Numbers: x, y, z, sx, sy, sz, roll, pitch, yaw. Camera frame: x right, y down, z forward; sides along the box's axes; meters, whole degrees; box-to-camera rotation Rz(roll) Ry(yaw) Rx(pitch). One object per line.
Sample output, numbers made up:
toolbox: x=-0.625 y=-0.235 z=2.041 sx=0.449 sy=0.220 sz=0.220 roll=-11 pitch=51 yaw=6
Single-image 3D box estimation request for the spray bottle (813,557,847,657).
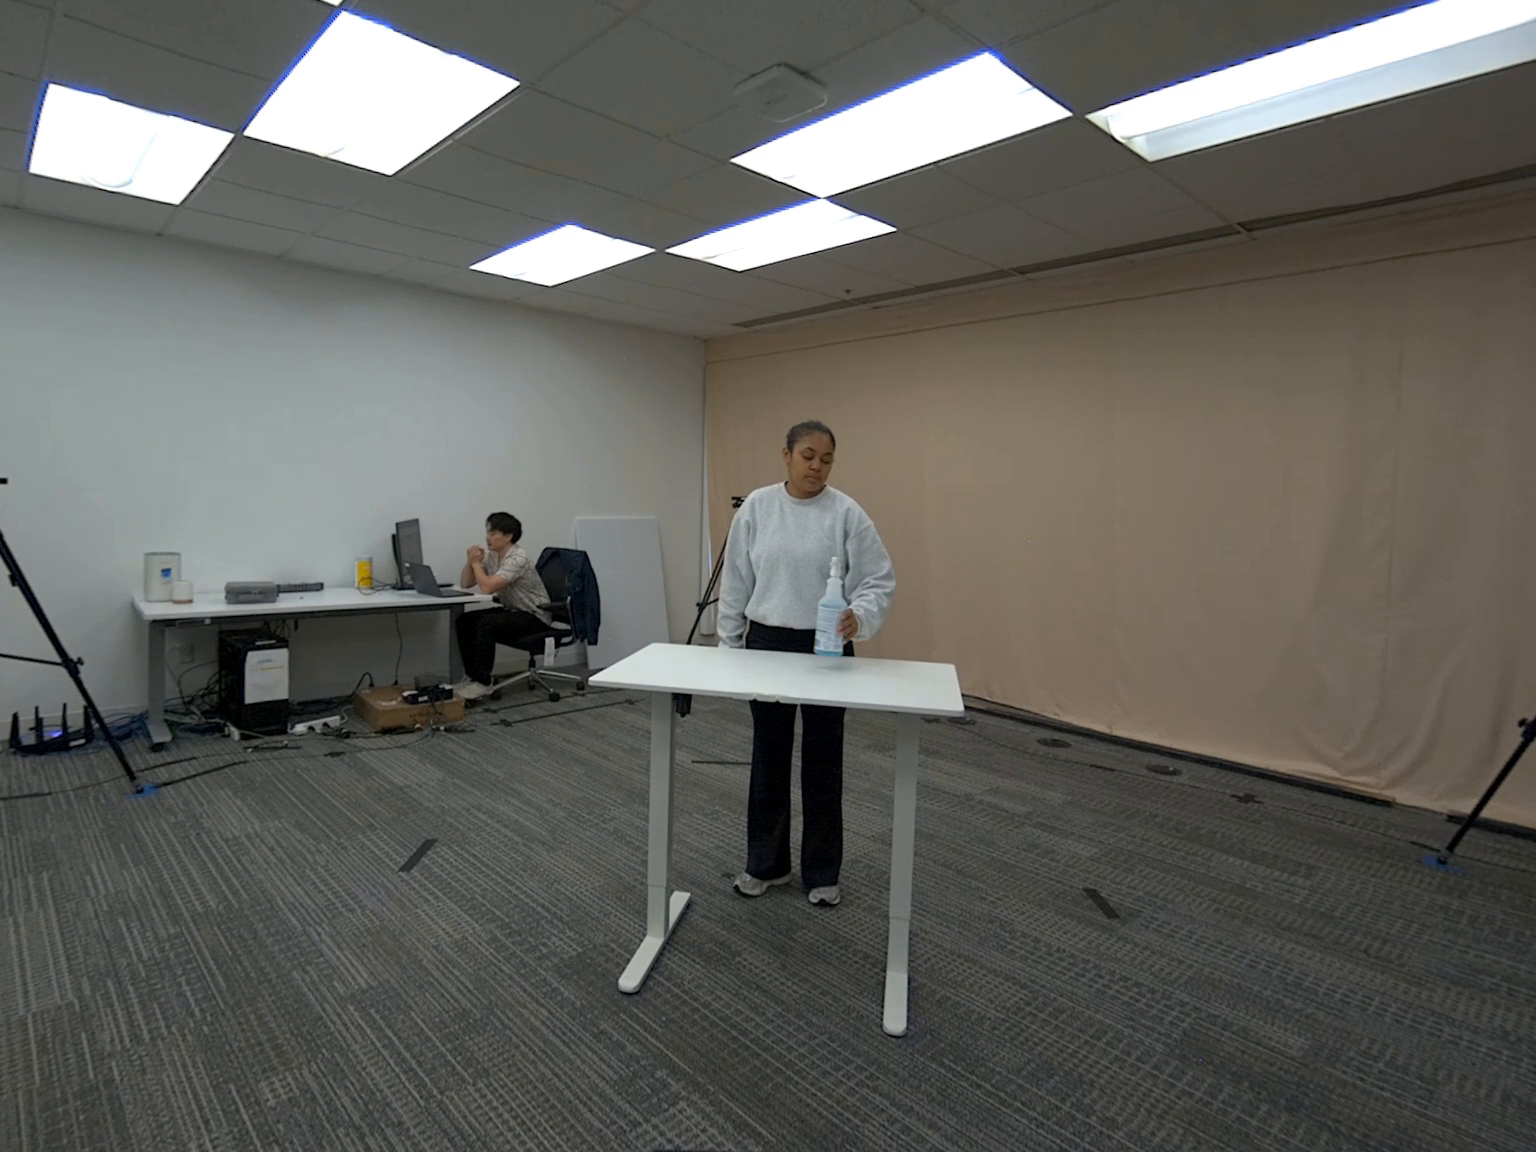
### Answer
spray bottle: x=0.182 y=0.099 z=2.542 sx=0.089 sy=0.297 sz=0.088 roll=4 pitch=3 yaw=35
